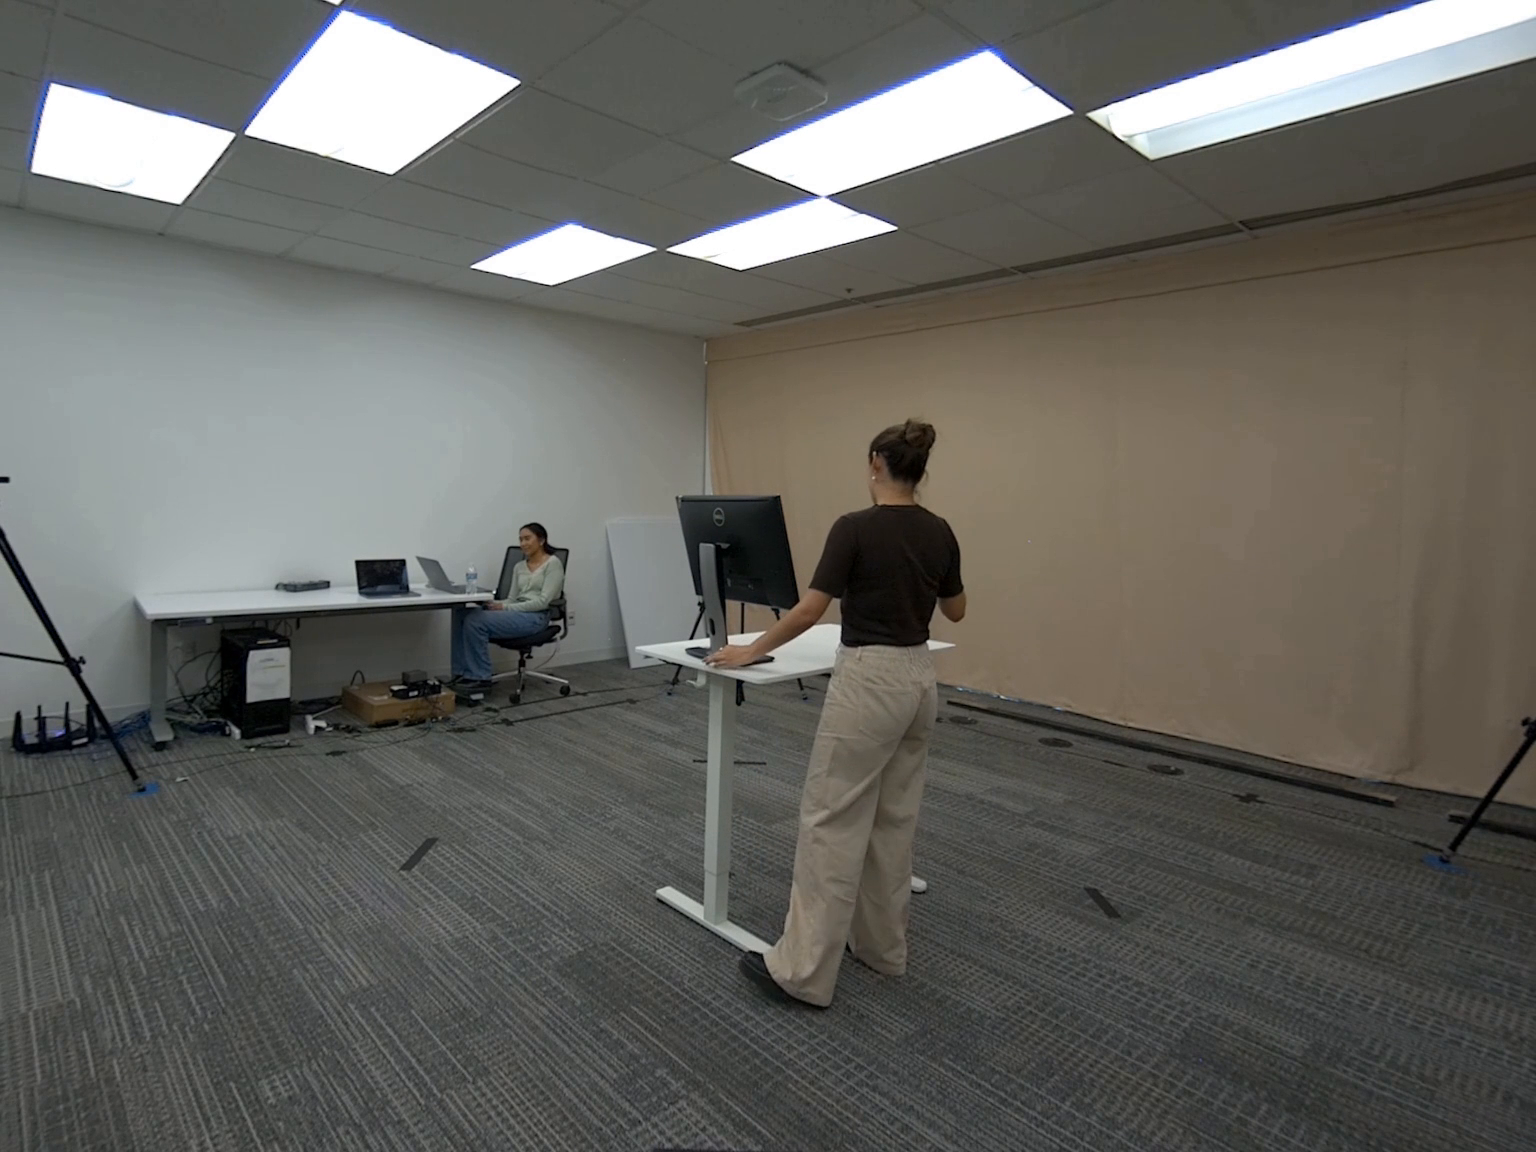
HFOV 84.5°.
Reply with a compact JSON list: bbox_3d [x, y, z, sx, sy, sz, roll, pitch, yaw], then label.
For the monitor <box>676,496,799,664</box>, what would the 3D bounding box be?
[{"bbox_3d":[-0.150,0.012,2.630,0.183,0.520,0.552,-4,7,-36],"label":"monitor"}]
